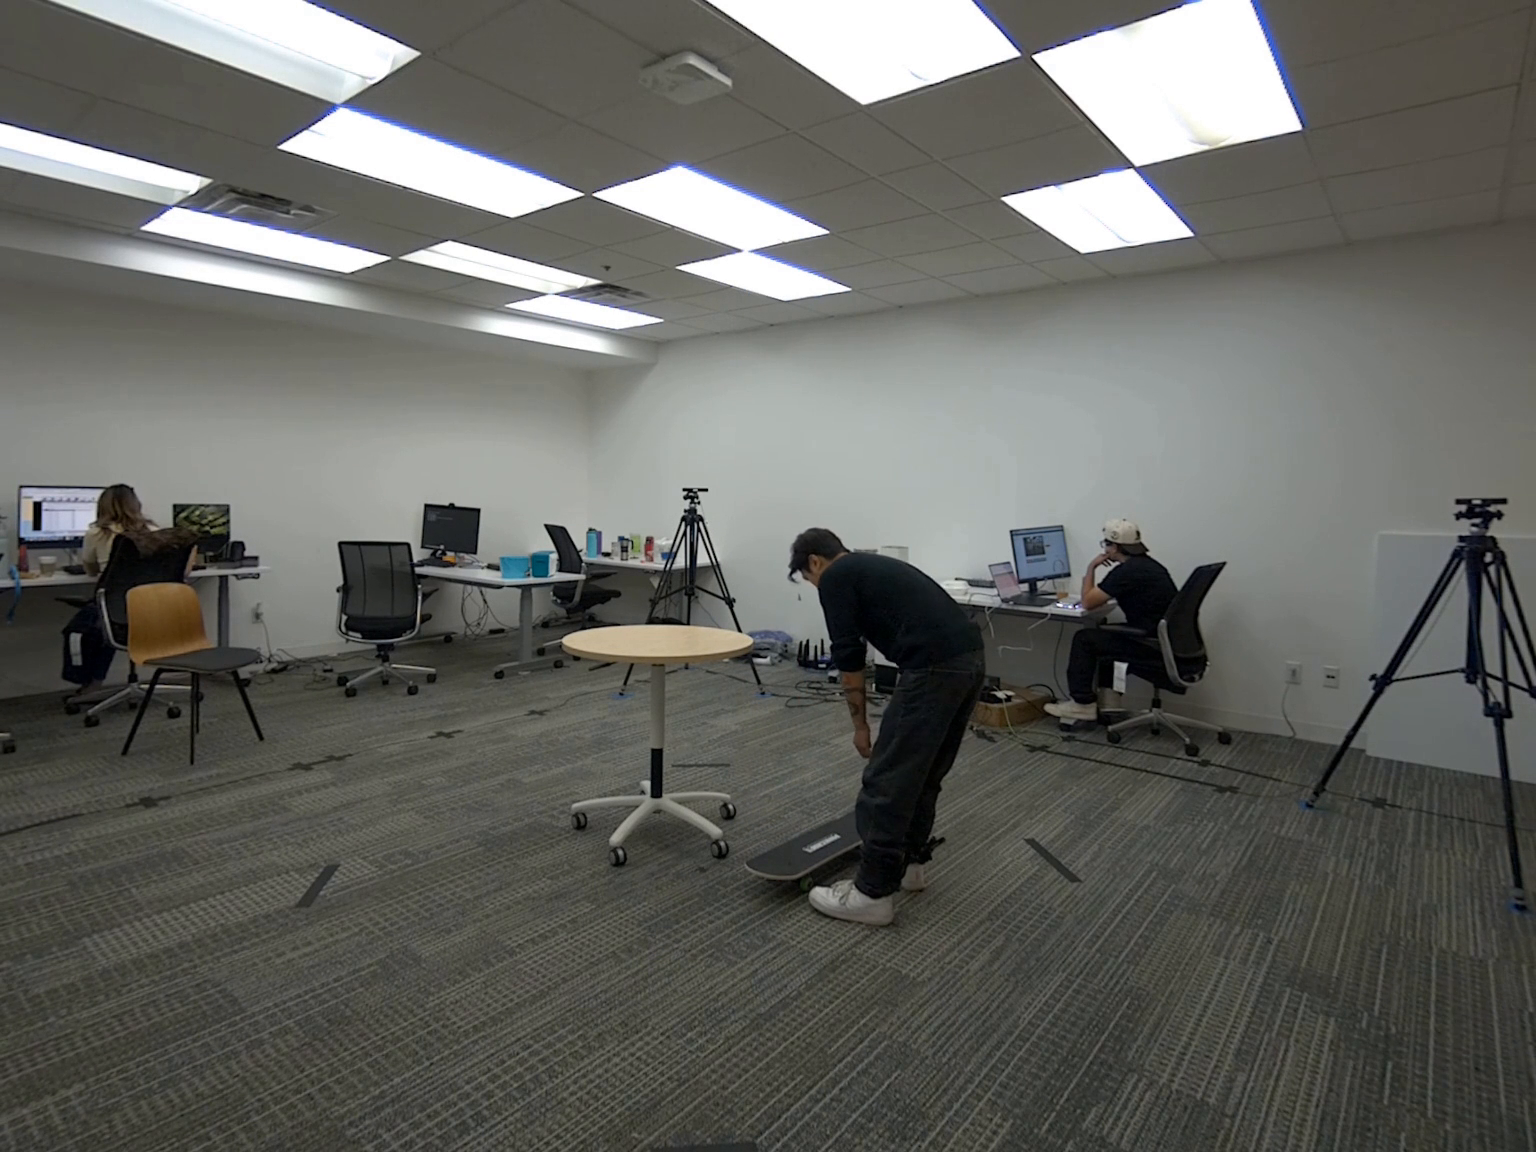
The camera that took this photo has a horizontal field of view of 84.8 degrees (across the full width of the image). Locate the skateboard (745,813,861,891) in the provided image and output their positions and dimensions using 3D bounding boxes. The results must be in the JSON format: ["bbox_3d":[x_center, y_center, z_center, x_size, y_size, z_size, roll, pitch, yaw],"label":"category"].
[{"bbox_3d":[0.200,1.022,3.155,0.200,0.110,0.762,6,7,40],"label":"skateboard"}]
